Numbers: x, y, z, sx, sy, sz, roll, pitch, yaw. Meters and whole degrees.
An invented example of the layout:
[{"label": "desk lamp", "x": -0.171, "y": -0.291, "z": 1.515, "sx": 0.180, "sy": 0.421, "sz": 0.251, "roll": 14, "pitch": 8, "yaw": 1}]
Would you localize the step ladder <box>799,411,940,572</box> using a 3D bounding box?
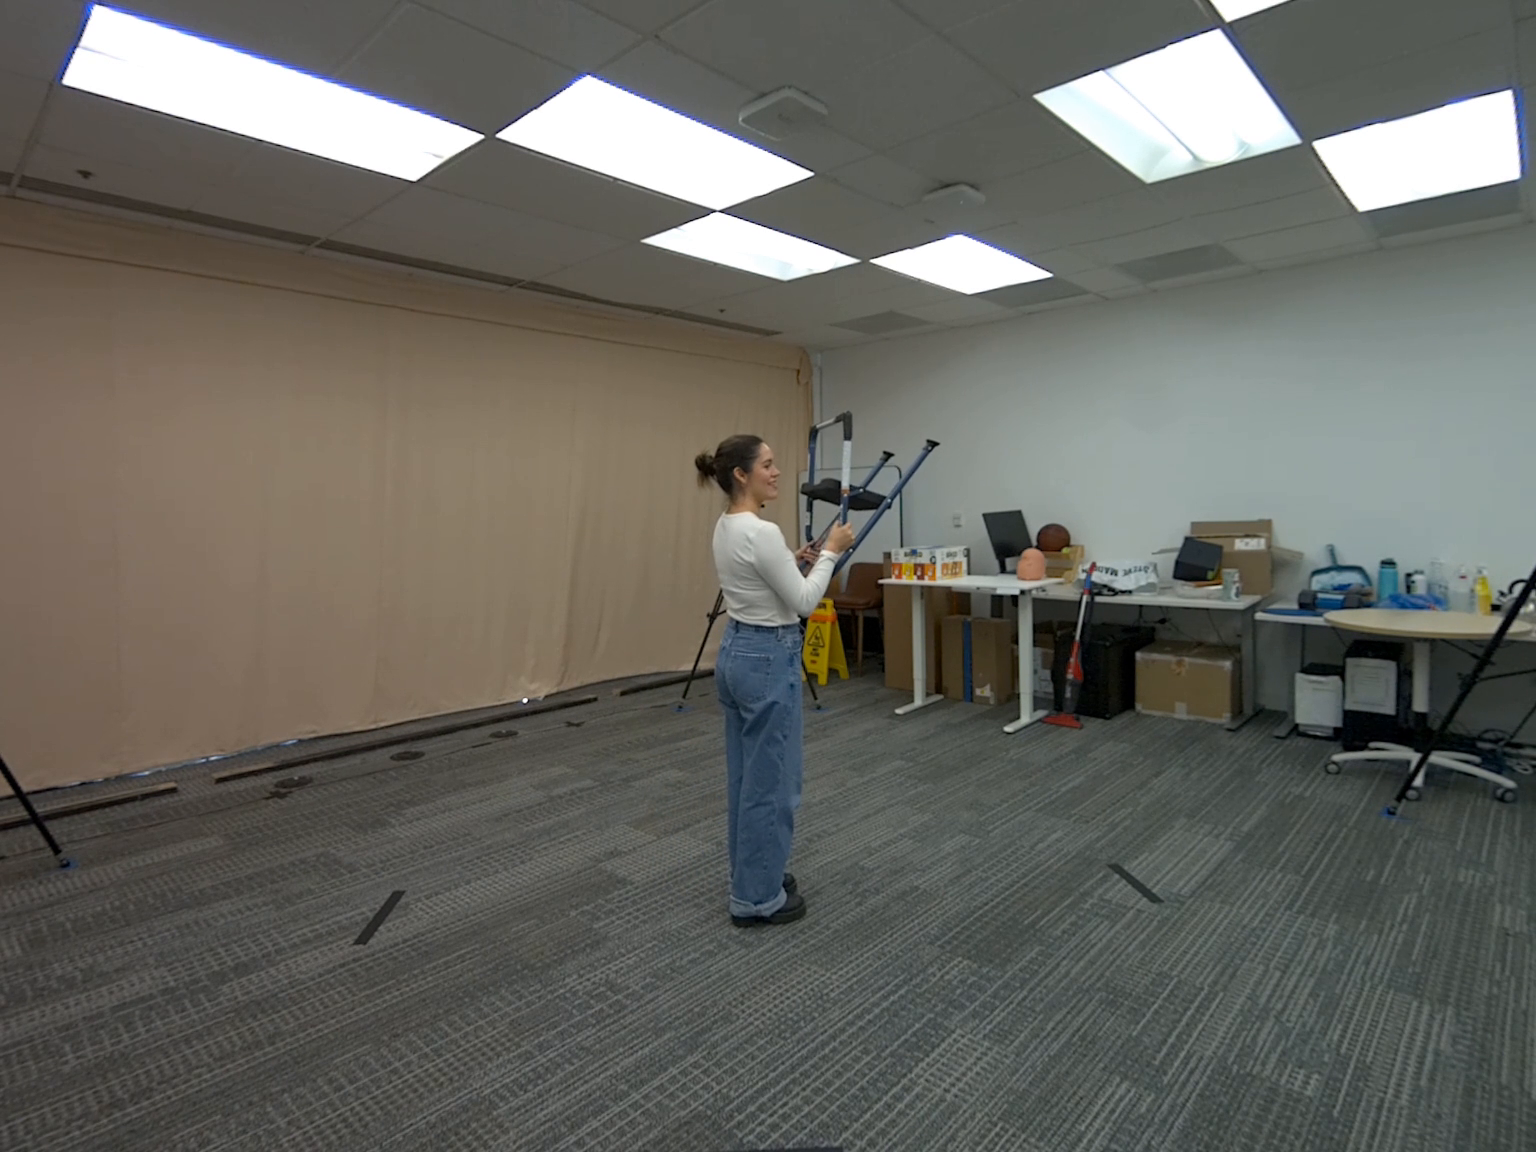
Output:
[{"label": "step ladder", "x": 0.287, "y": -0.224, "z": 2.997, "sx": 0.344, "sy": 0.606, "sz": 0.436, "roll": 18, "pitch": -3, "yaw": -12}]
